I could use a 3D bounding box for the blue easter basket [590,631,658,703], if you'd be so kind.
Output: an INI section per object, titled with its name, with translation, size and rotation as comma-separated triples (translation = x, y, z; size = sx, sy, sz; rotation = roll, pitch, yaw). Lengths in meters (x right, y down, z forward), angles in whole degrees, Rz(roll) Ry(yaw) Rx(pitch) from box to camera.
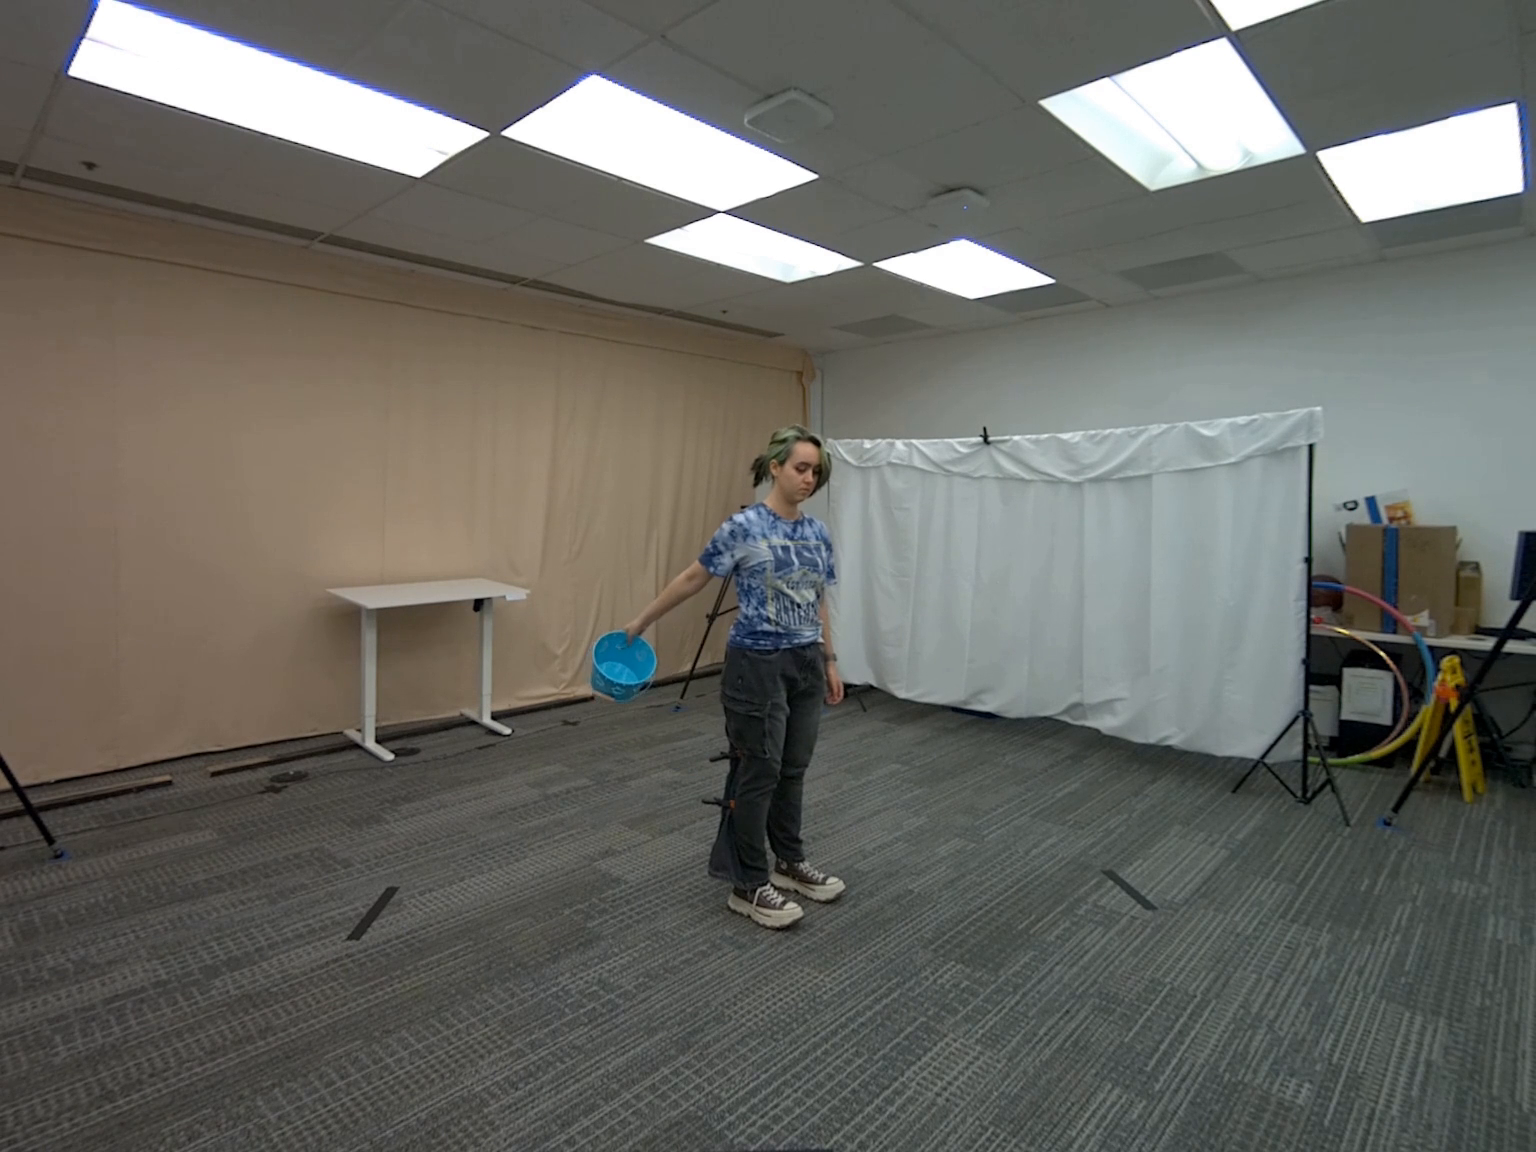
[blue easter basket]
translation = -0.523, 0.340, 2.988
size = 0.240, 0.155, 0.248
rotation = 13, 41, -14
